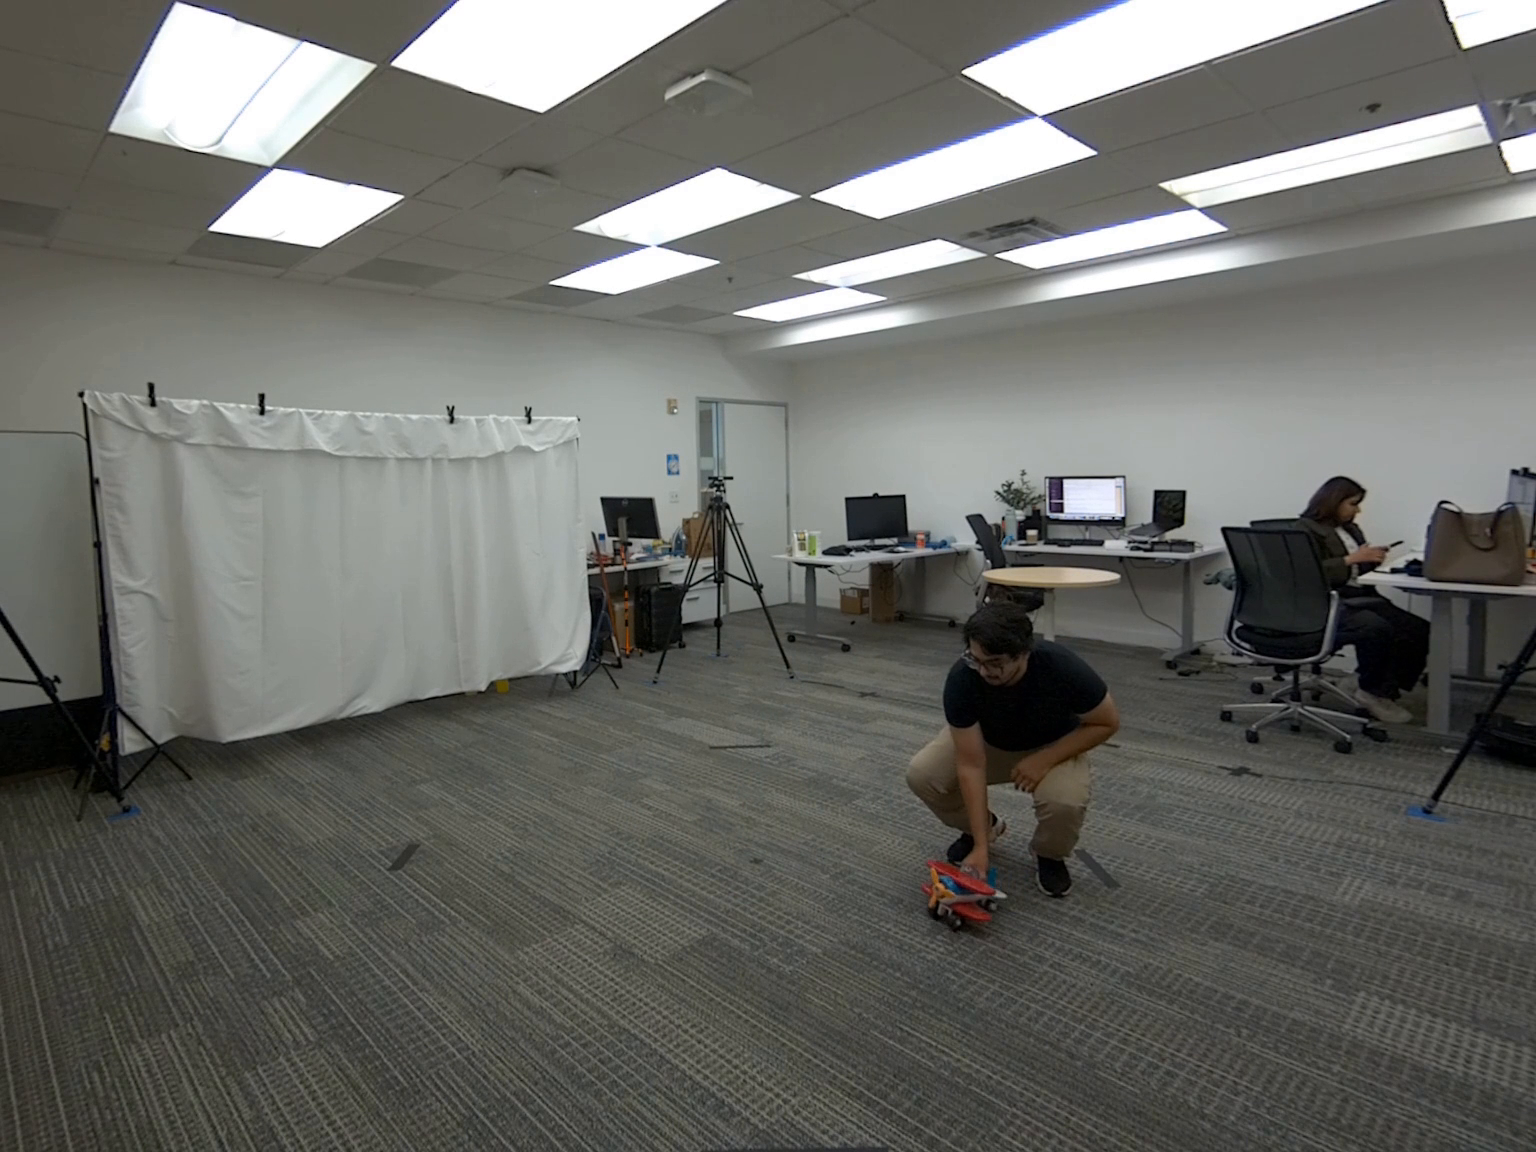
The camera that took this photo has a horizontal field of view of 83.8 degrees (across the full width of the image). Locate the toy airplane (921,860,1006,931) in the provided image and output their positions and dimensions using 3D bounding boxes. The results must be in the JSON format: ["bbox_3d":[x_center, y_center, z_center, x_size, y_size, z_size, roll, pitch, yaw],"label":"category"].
[{"bbox_3d":[0.621,0.998,2.695,0.258,0.156,0.254,2,7,30],"label":"toy airplane"}]
